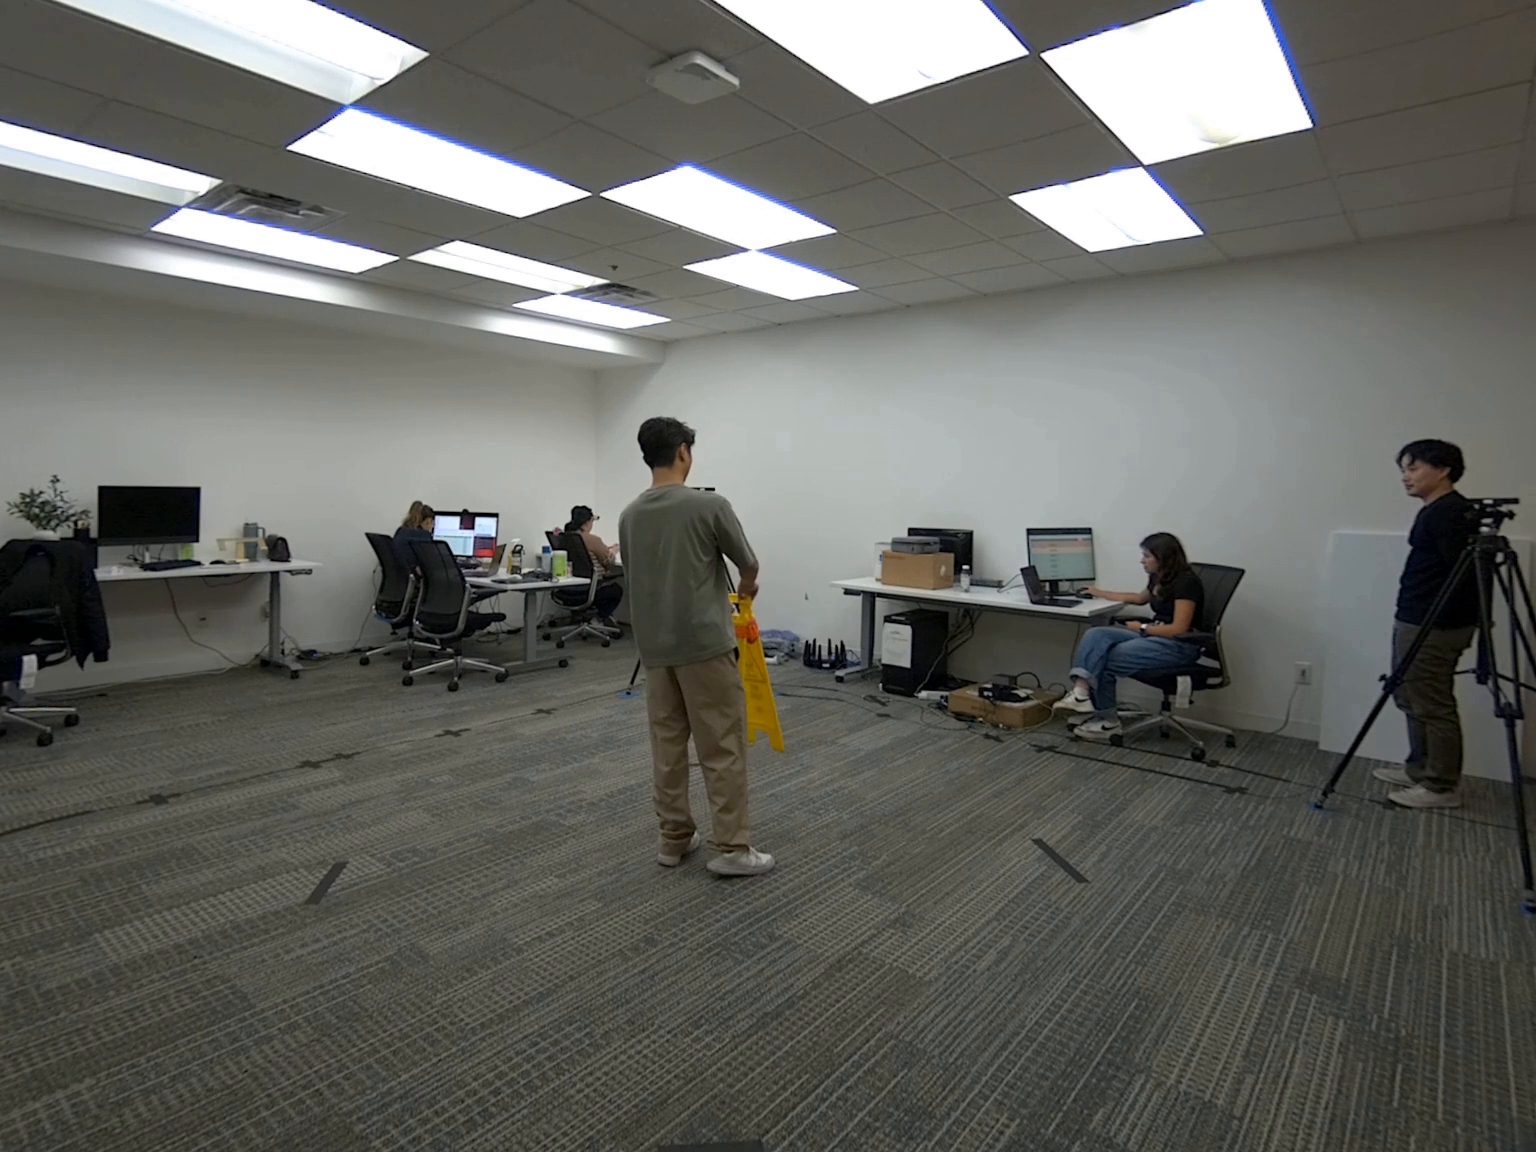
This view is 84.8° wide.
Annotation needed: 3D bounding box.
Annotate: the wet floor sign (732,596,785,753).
[{"bbox_3d":[-0.138,0.409,3.528,0.281,0.647,0.290,-1,-2,-36],"label":"wet floor sign"}]
